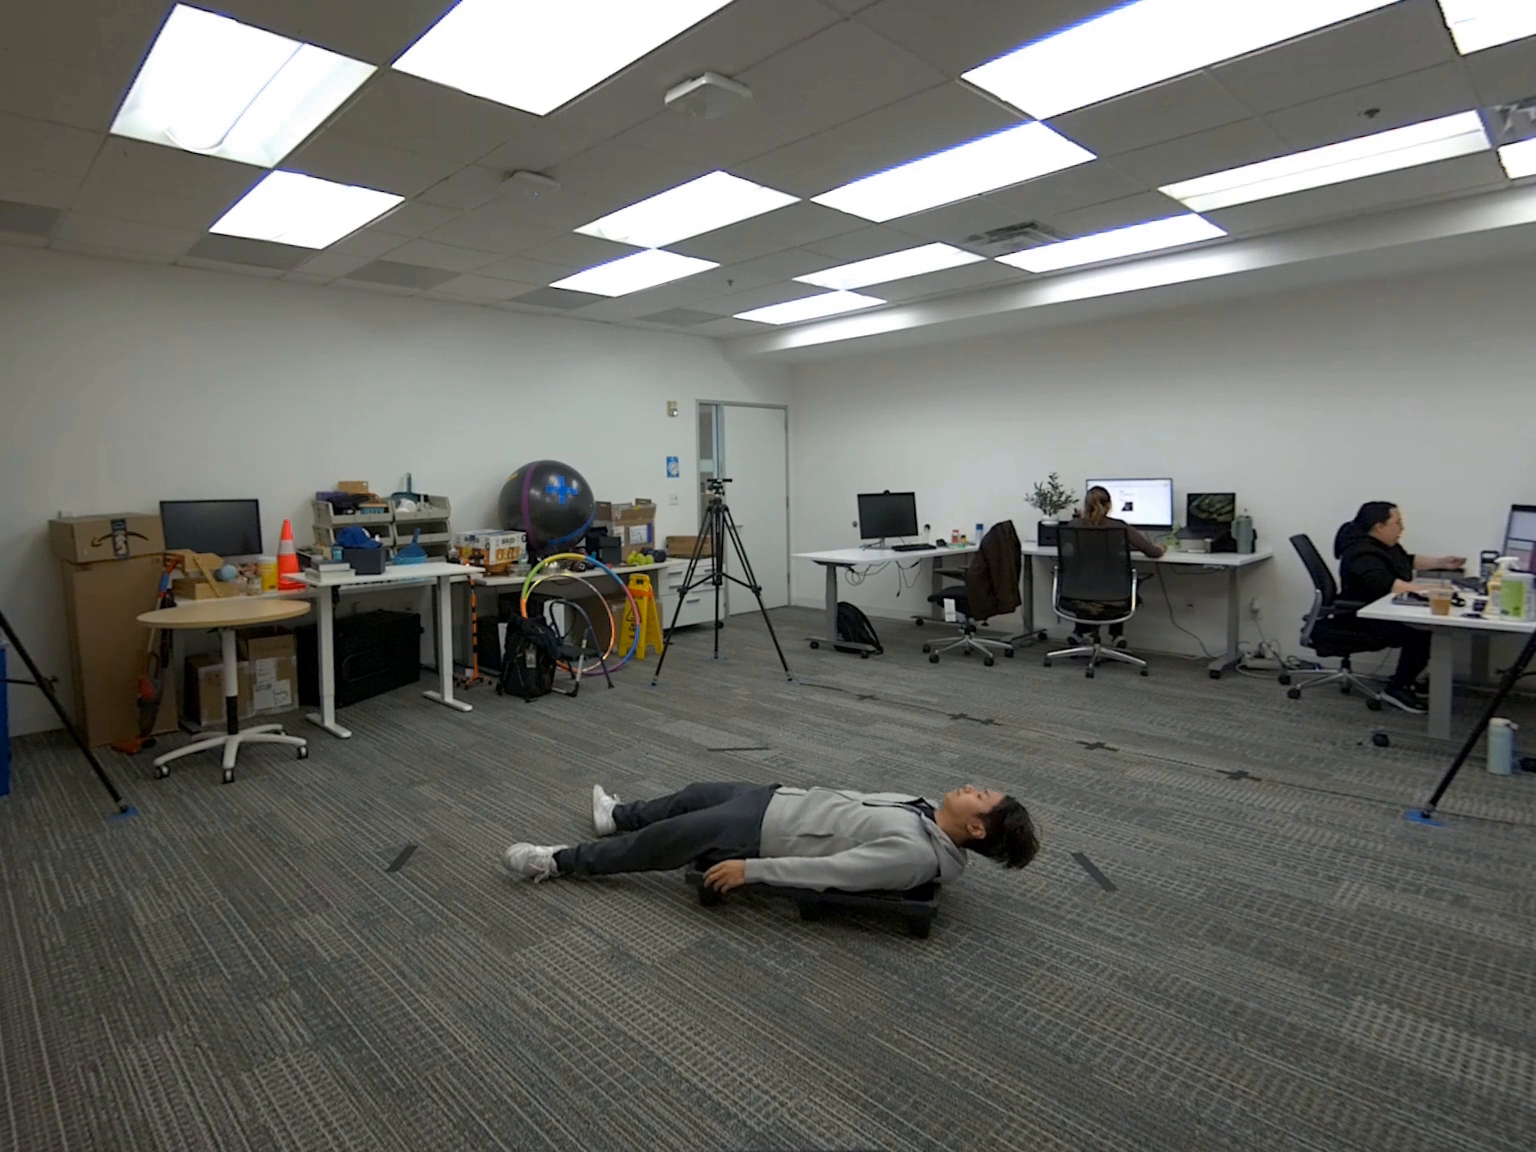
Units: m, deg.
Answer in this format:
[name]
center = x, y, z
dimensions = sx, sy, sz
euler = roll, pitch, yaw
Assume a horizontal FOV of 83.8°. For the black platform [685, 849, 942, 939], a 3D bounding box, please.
[black platform]
center = 0.195, 0.973, 2.912
dimensions = 0.820, 0.143, 0.595
euler = 2, 2, 18
